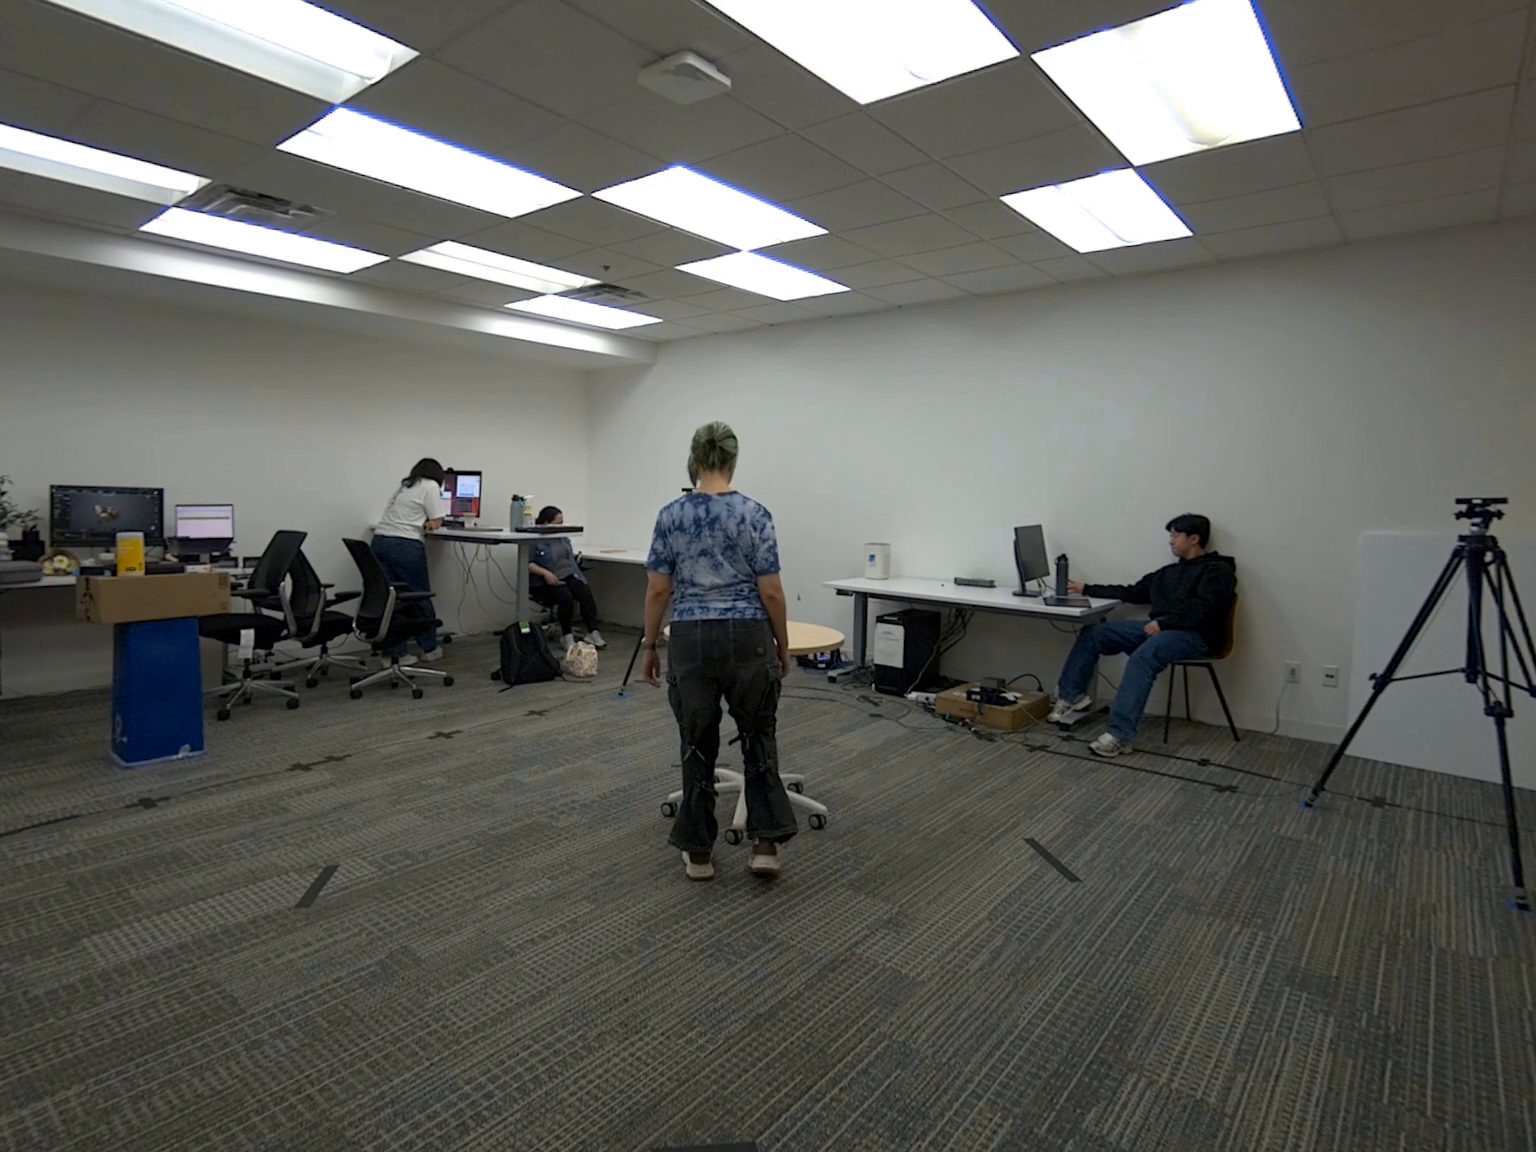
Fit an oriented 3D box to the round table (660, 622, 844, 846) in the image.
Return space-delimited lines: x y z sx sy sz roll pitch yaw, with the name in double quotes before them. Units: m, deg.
"round table" -0.067 0.627 3.629 0.784 0.784 0.789 1 4 -2
